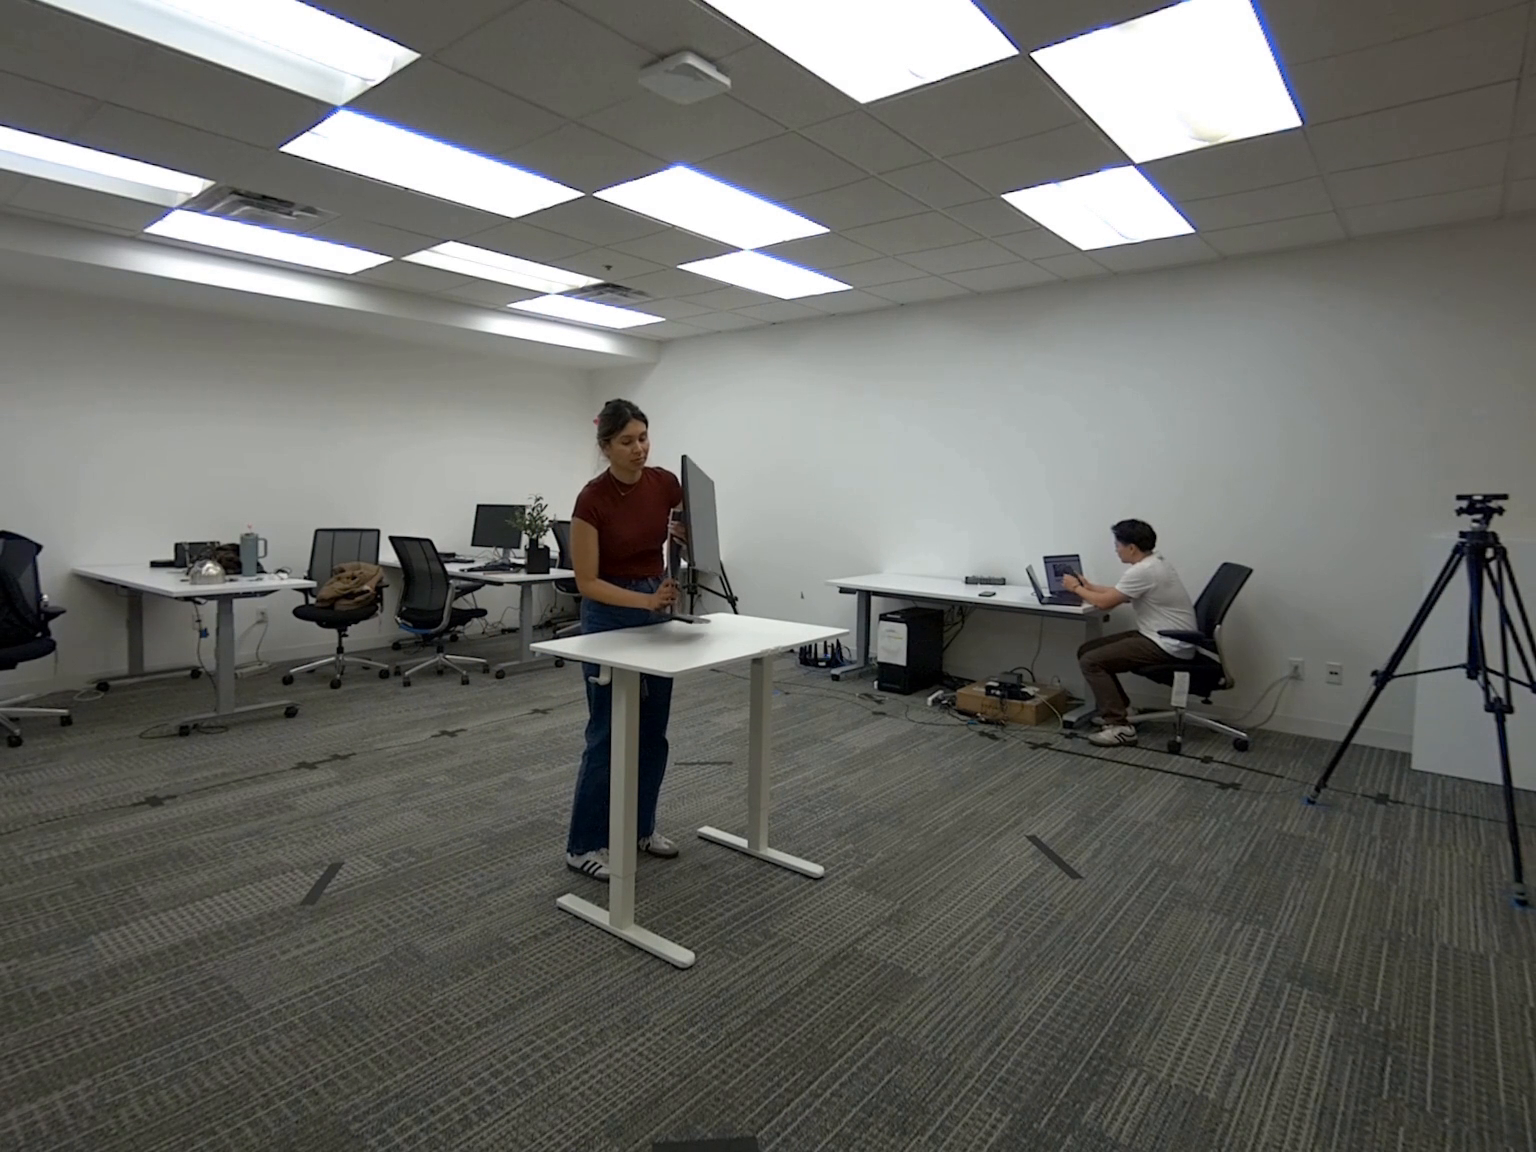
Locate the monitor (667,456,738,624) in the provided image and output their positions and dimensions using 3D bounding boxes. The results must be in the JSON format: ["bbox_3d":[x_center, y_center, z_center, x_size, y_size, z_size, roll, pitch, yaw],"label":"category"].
[{"bbox_3d":[-0.271,-0.105,2.888,0.188,0.524,0.533,9,-4,5],"label":"monitor"}]
